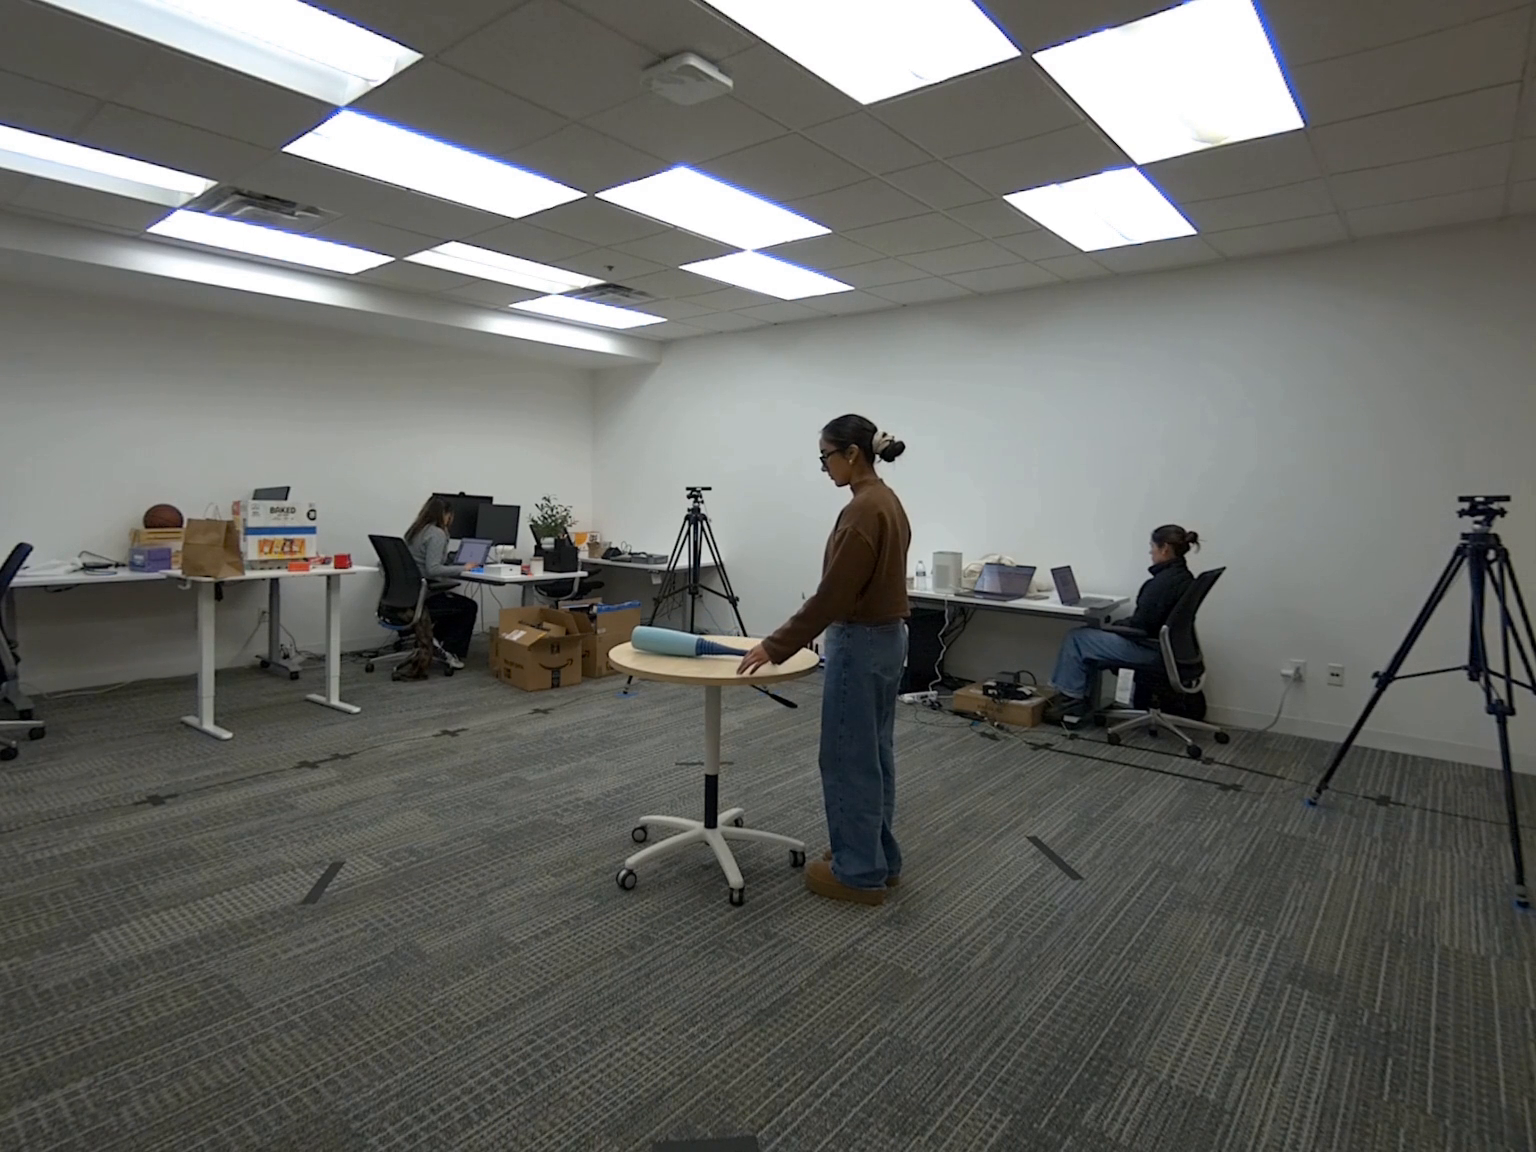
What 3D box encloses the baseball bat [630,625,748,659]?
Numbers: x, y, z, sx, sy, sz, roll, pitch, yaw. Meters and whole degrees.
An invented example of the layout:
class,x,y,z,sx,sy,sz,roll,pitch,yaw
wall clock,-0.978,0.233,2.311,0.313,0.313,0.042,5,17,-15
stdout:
class,x,y,z,sx,sy,sz,roll,pitch,yaw
baseball bat,-0.239,0.255,3.037,0.552,0.089,0.088,6,5,14
